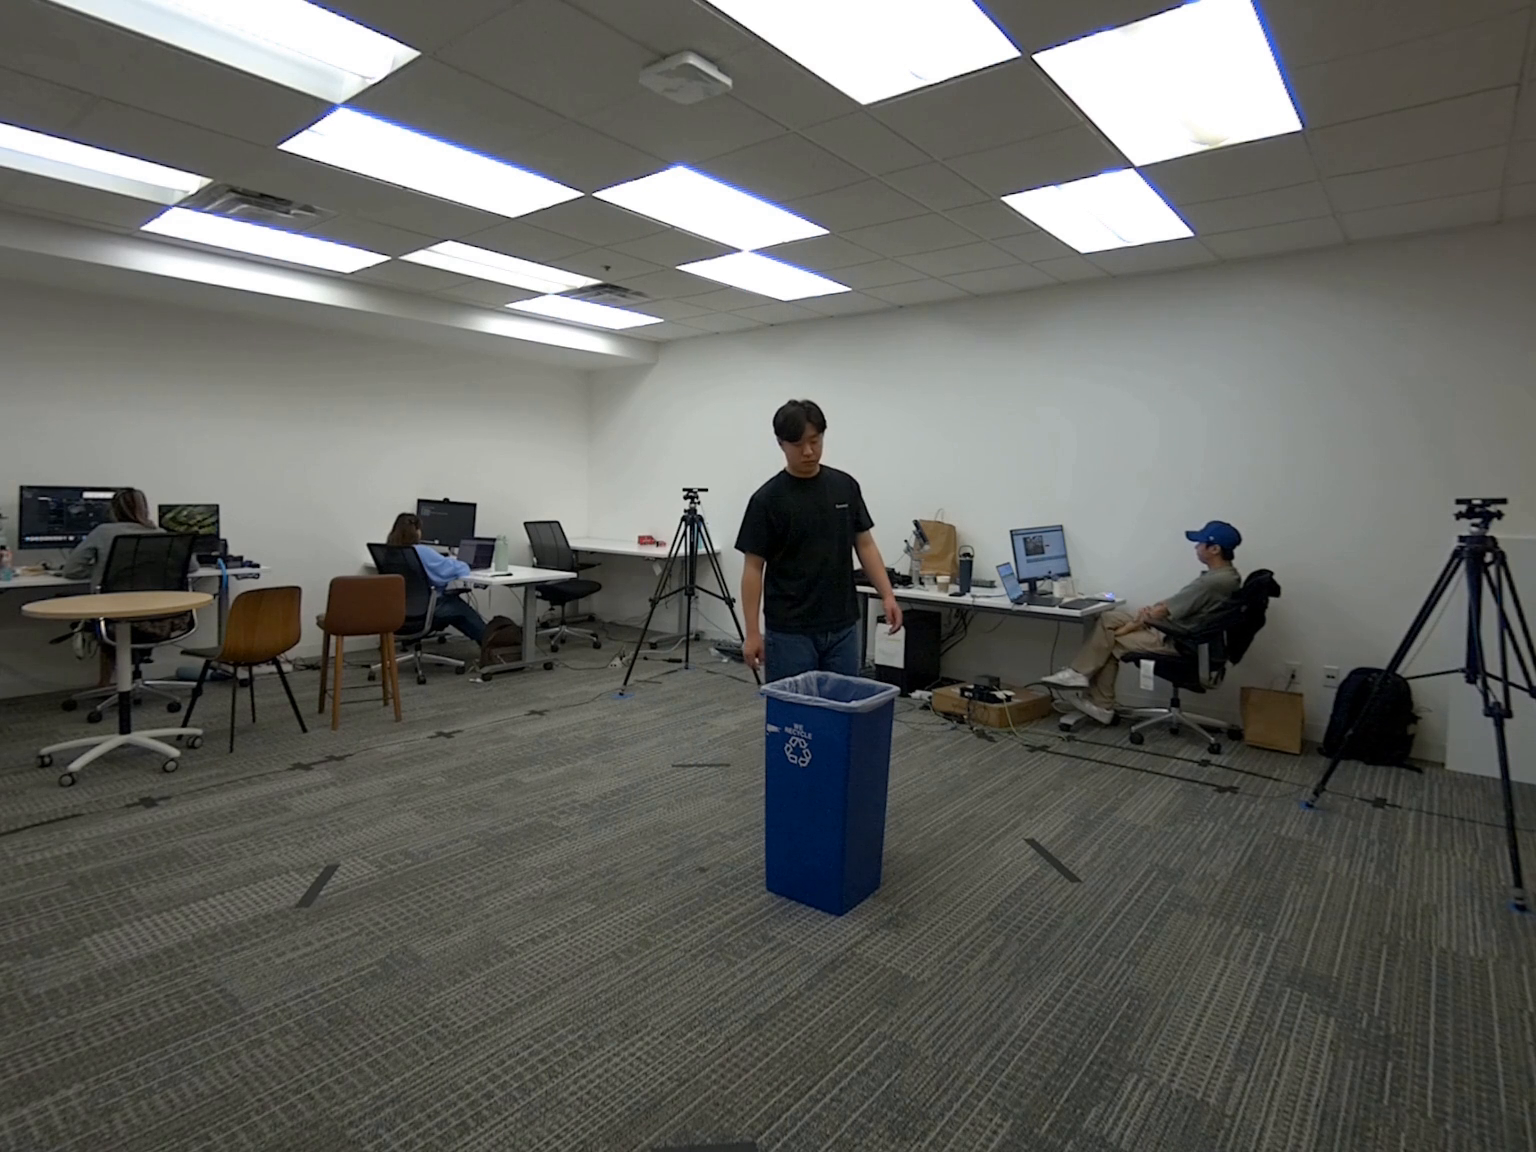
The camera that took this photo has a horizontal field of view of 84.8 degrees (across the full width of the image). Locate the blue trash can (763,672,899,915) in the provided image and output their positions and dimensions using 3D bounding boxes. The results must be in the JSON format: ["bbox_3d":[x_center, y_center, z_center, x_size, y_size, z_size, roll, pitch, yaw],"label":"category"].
[{"bbox_3d":[0.209,0.731,2.970,0.386,0.711,0.367,3,4,35],"label":"blue trash can"}]
